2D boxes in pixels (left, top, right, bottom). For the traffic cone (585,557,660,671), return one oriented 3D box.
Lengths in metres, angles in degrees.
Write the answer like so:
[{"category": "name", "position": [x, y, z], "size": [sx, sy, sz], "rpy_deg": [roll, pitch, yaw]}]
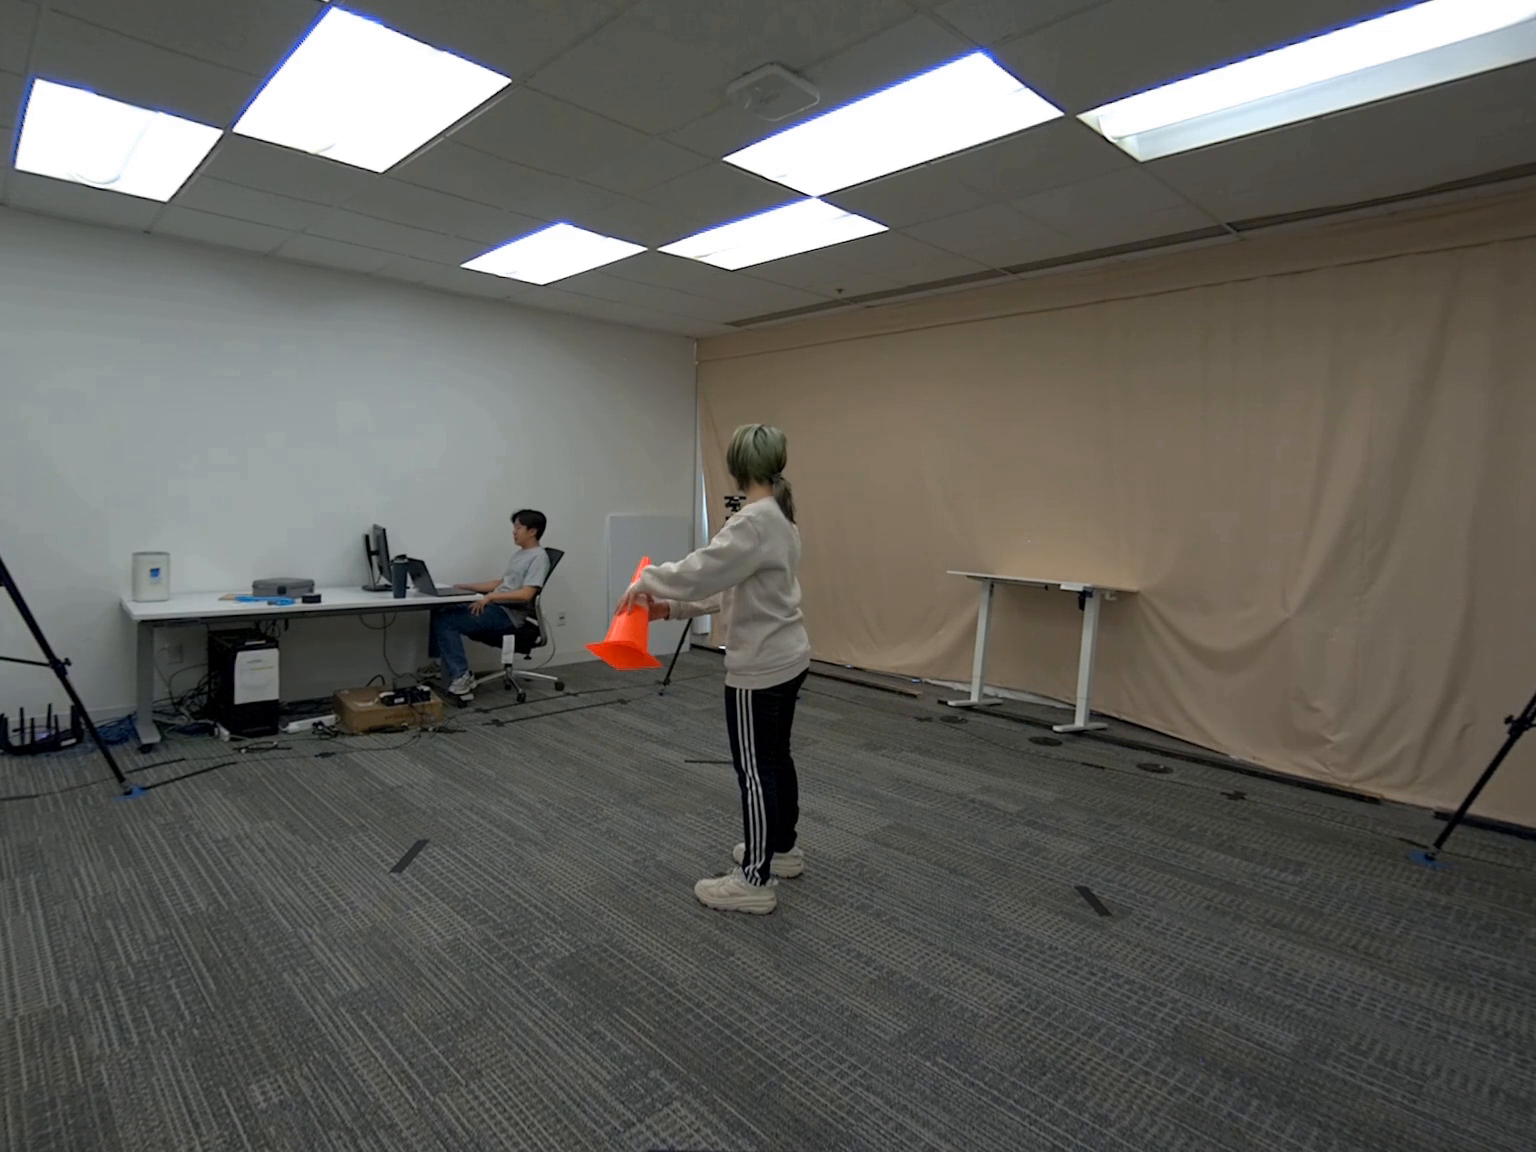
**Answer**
[{"category": "traffic cone", "position": [-0.445, 0.099, 2.890], "size": [0.207, 0.390, 0.198], "rpy_deg": [-12, -37, 31]}]
